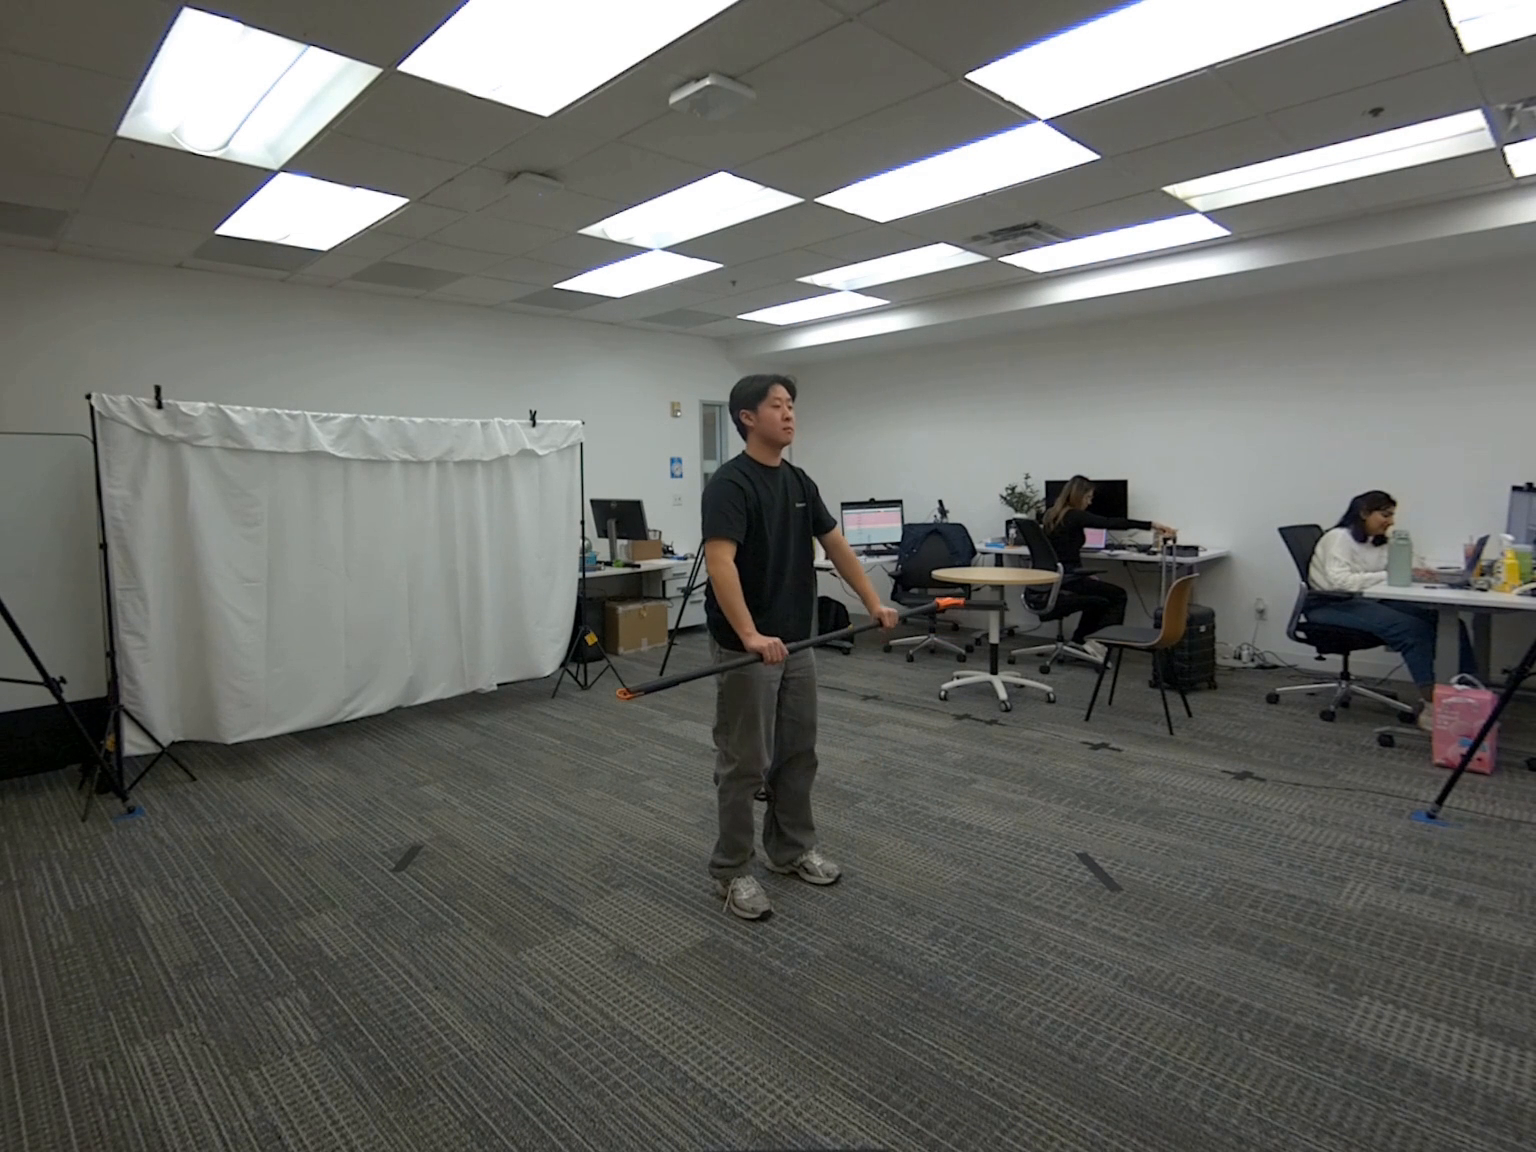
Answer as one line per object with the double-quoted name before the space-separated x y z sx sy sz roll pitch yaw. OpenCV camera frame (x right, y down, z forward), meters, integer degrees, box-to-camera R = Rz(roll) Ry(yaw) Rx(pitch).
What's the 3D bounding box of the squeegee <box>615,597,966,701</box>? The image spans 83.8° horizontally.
"squeegee" 0.173 0.210 2.634 1.500 0.053 0.450 -10 7 -42
